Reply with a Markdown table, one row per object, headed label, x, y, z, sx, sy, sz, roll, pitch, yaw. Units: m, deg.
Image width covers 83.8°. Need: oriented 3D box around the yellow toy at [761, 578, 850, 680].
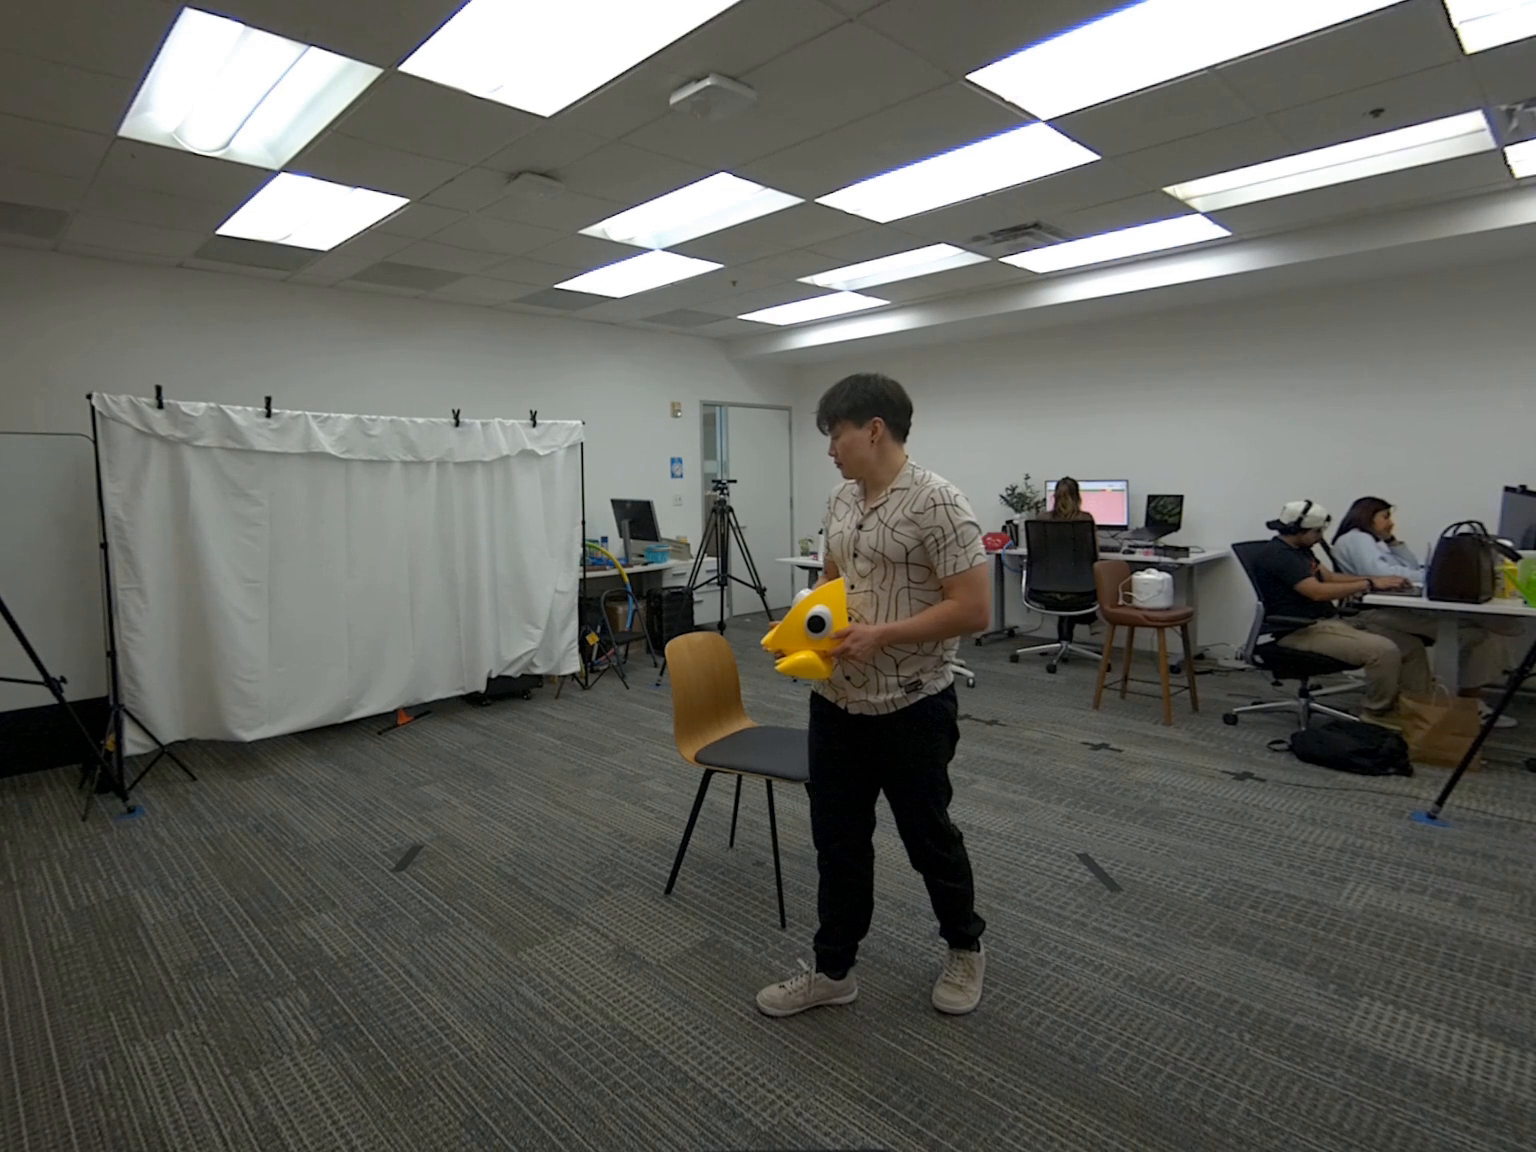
| label | x | y | z | sx | sy | sz | roll | pitch | yaw |
| --- | --- | --- | --- | --- | --- | --- | --- | --- | --- |
| yellow toy | 0.111 | 0.103 | 2.144 | 0.189 | 0.227 | 0.211 | 5 | 23 | -19 |
